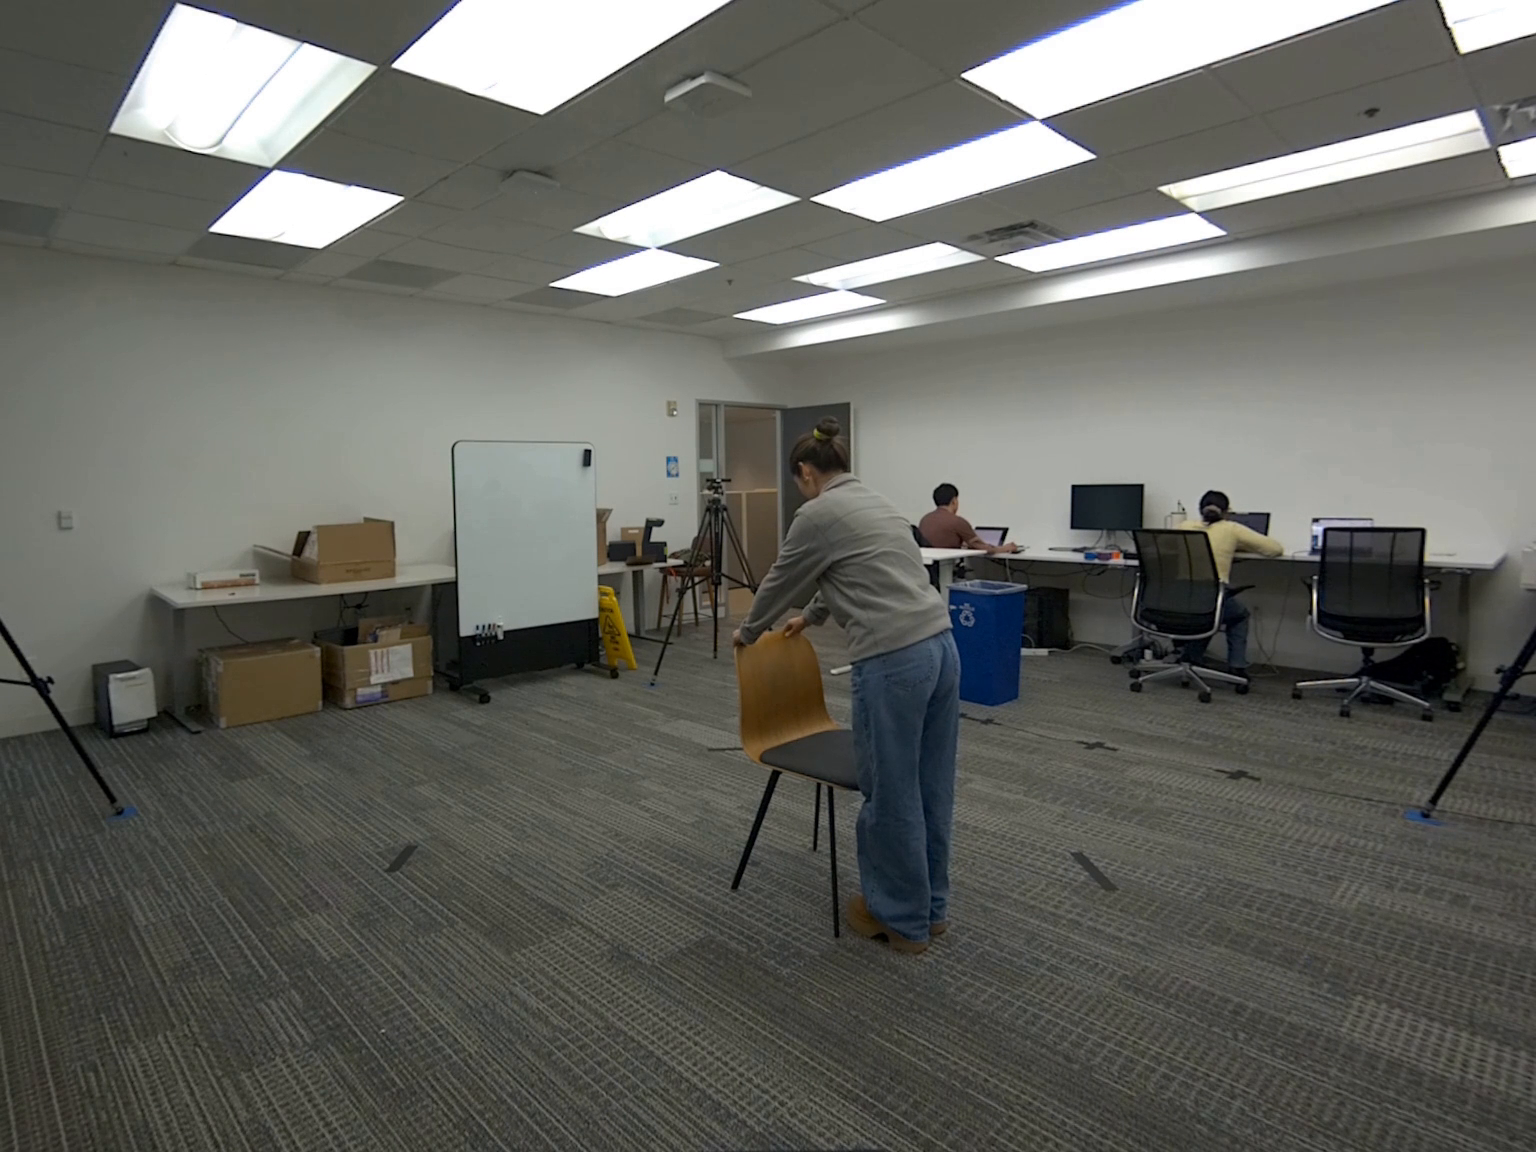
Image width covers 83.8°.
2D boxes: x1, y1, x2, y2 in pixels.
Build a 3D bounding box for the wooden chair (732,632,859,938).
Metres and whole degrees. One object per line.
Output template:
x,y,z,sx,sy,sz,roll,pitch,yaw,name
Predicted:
0.190,0.640,2.874,0.538,0.876,0.465,-3,2,44,wooden chair
